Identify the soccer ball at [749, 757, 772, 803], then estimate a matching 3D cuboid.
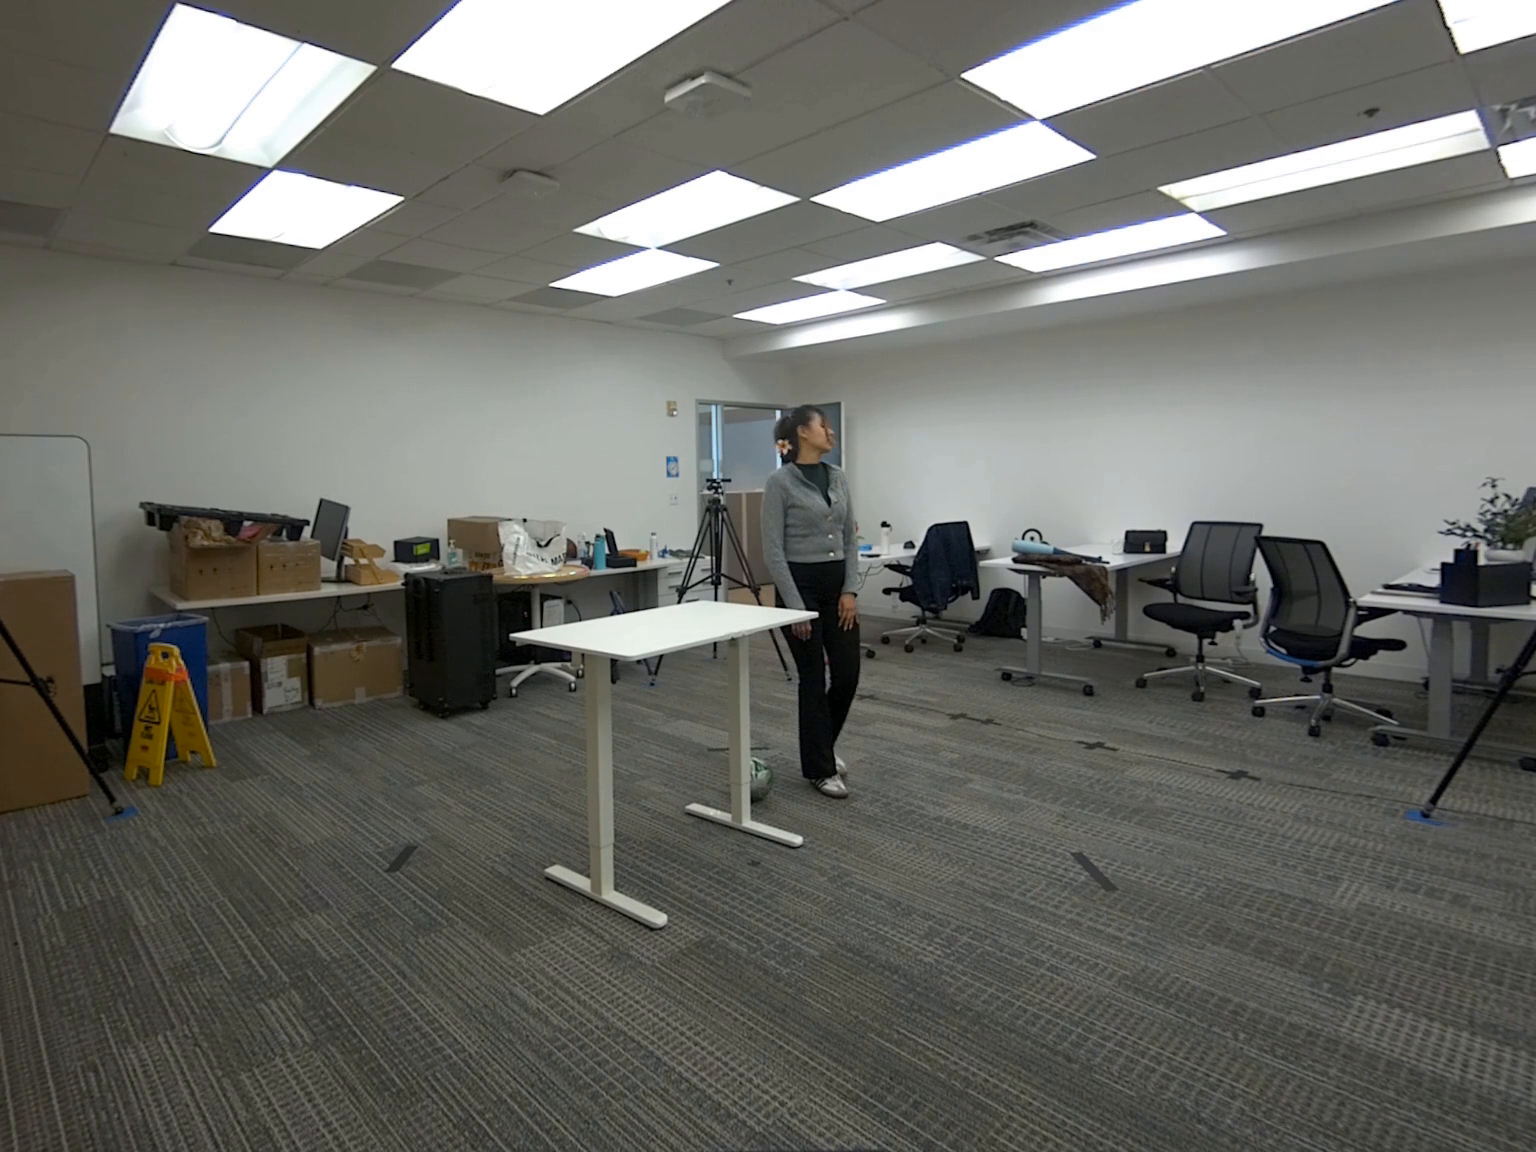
[{"bbox_3d":[-0.069,0.882,3.730,0.187,0.187,0.188,-1,5,-2],"label":"soccer ball"}]
